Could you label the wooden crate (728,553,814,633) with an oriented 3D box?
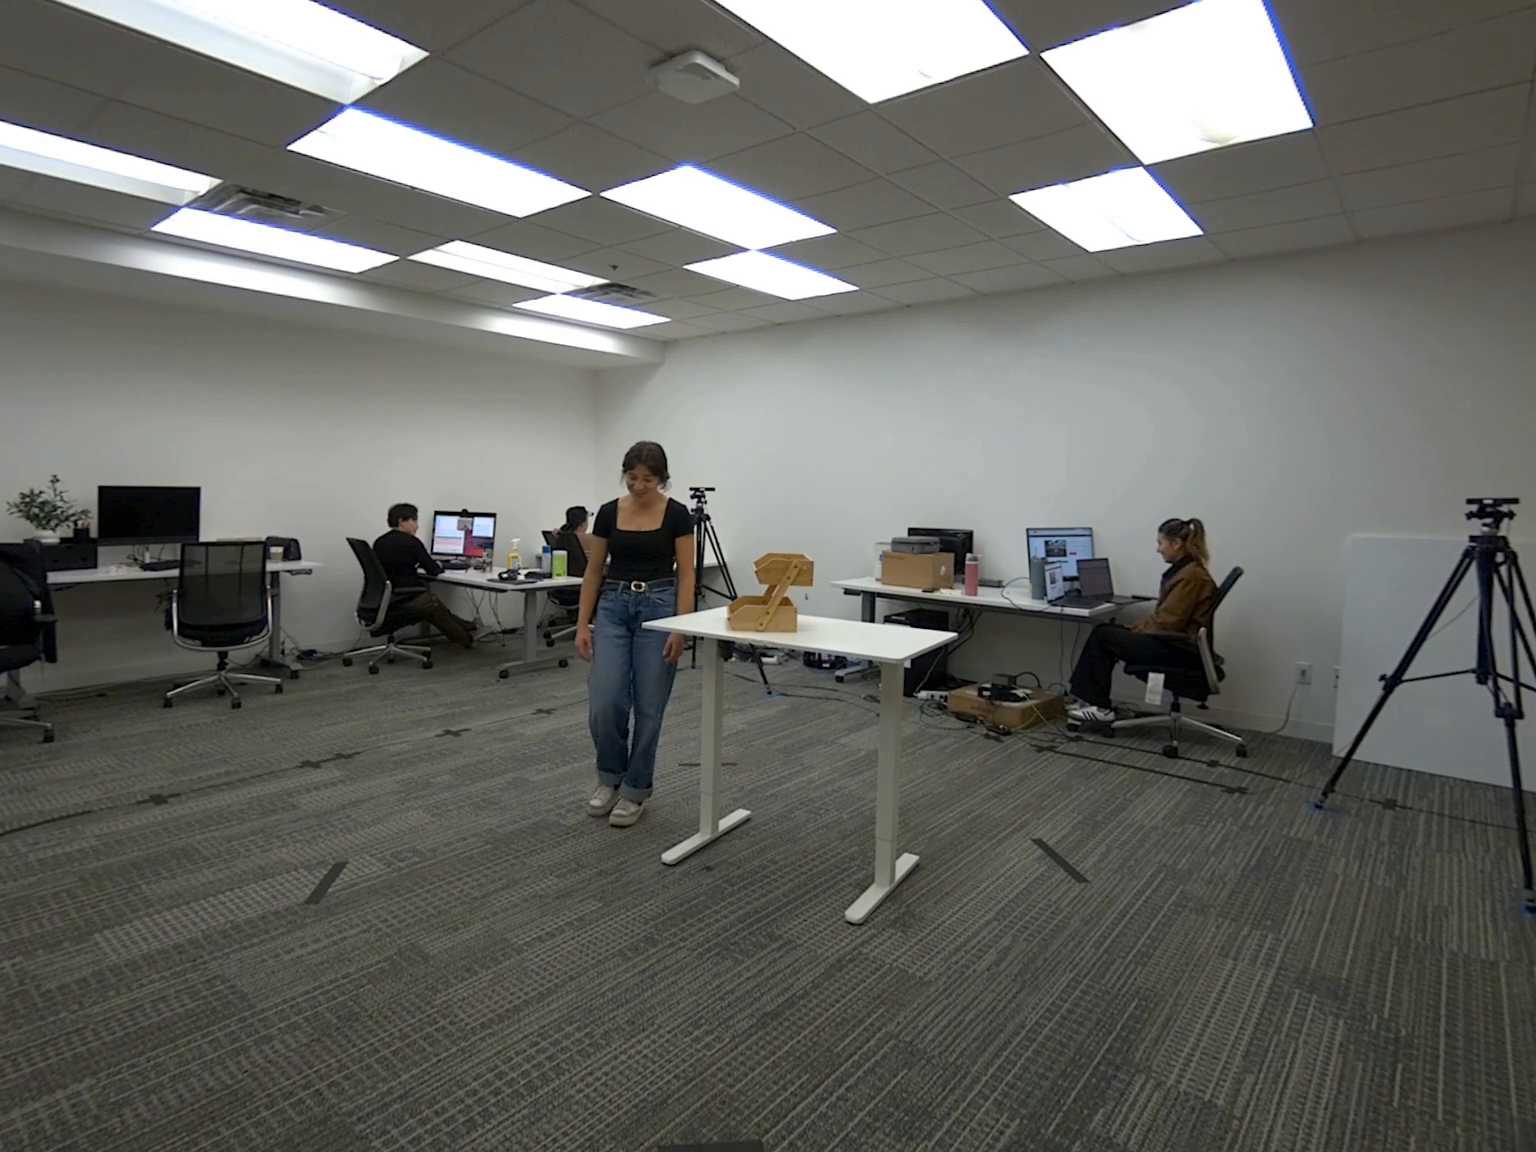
[{"bbox_3d":[-0.008,0.052,3.178,0.302,0.272,0.326,2,5,-2],"label":"wooden crate"}]
